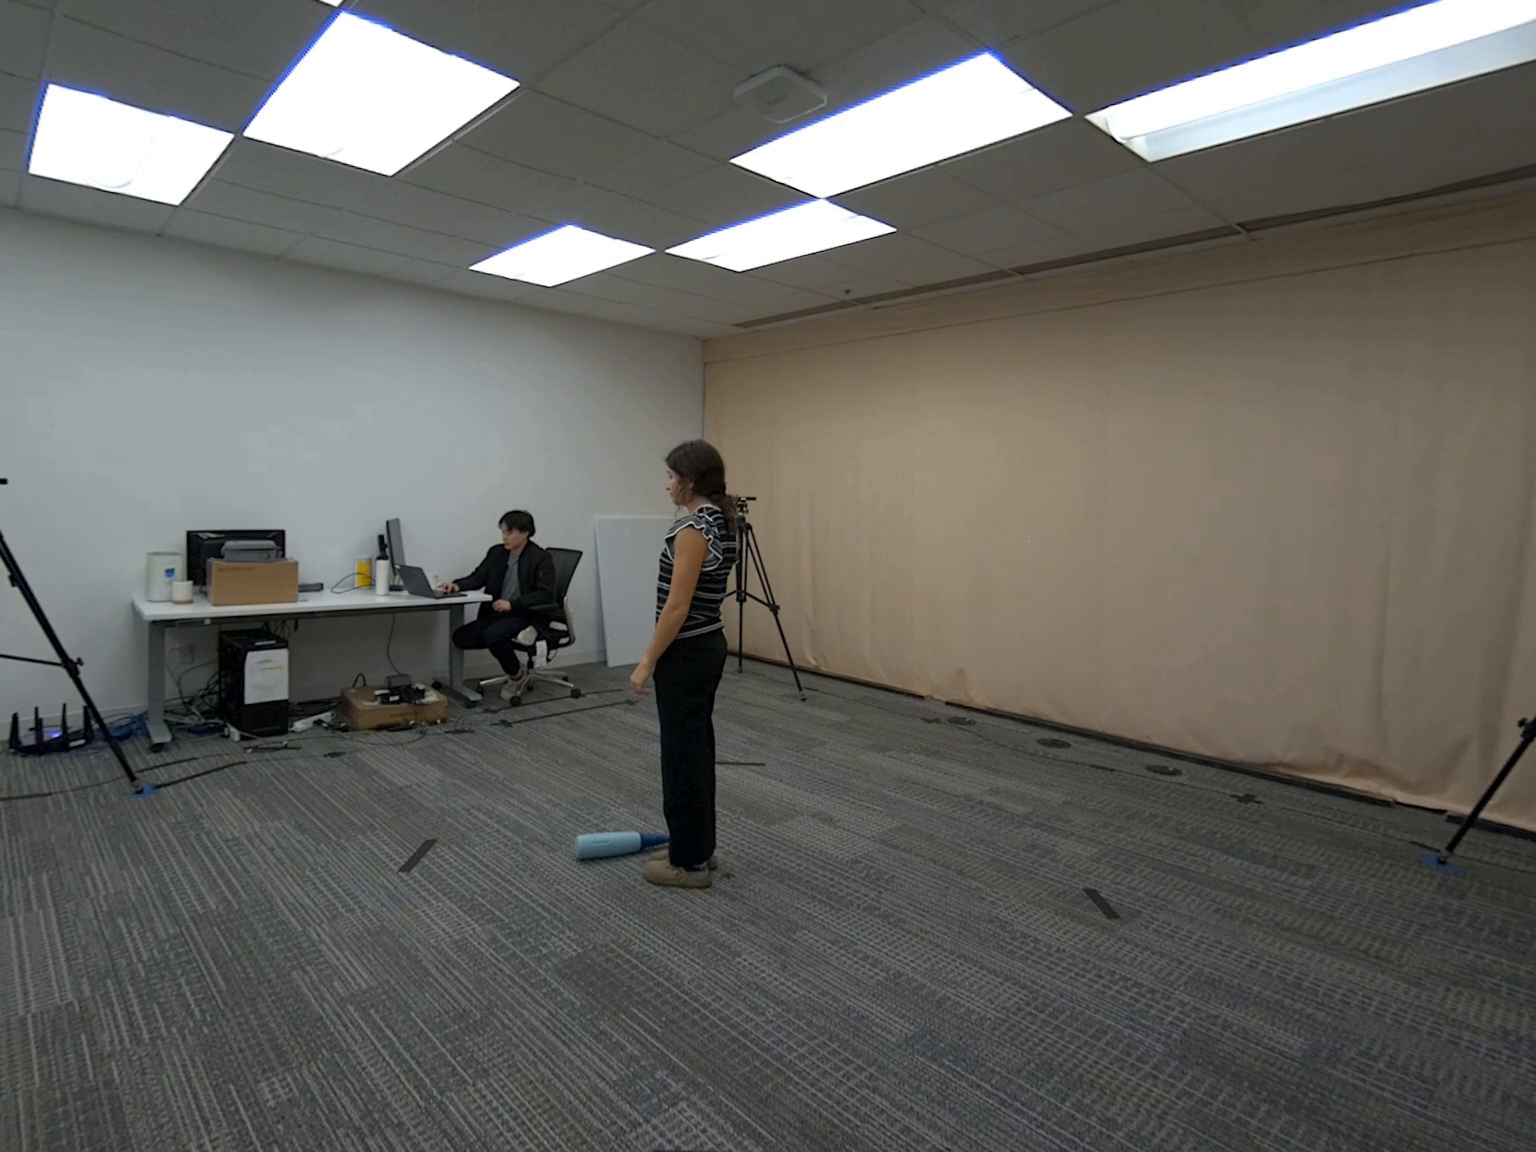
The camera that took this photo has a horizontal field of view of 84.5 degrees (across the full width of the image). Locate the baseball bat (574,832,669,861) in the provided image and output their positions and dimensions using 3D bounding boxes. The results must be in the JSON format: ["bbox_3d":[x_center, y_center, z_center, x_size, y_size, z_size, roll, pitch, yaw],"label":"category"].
[{"bbox_3d":[-0.502,1.046,3.310,0.533,0.089,0.091,3,3,-24],"label":"baseball bat"}]
